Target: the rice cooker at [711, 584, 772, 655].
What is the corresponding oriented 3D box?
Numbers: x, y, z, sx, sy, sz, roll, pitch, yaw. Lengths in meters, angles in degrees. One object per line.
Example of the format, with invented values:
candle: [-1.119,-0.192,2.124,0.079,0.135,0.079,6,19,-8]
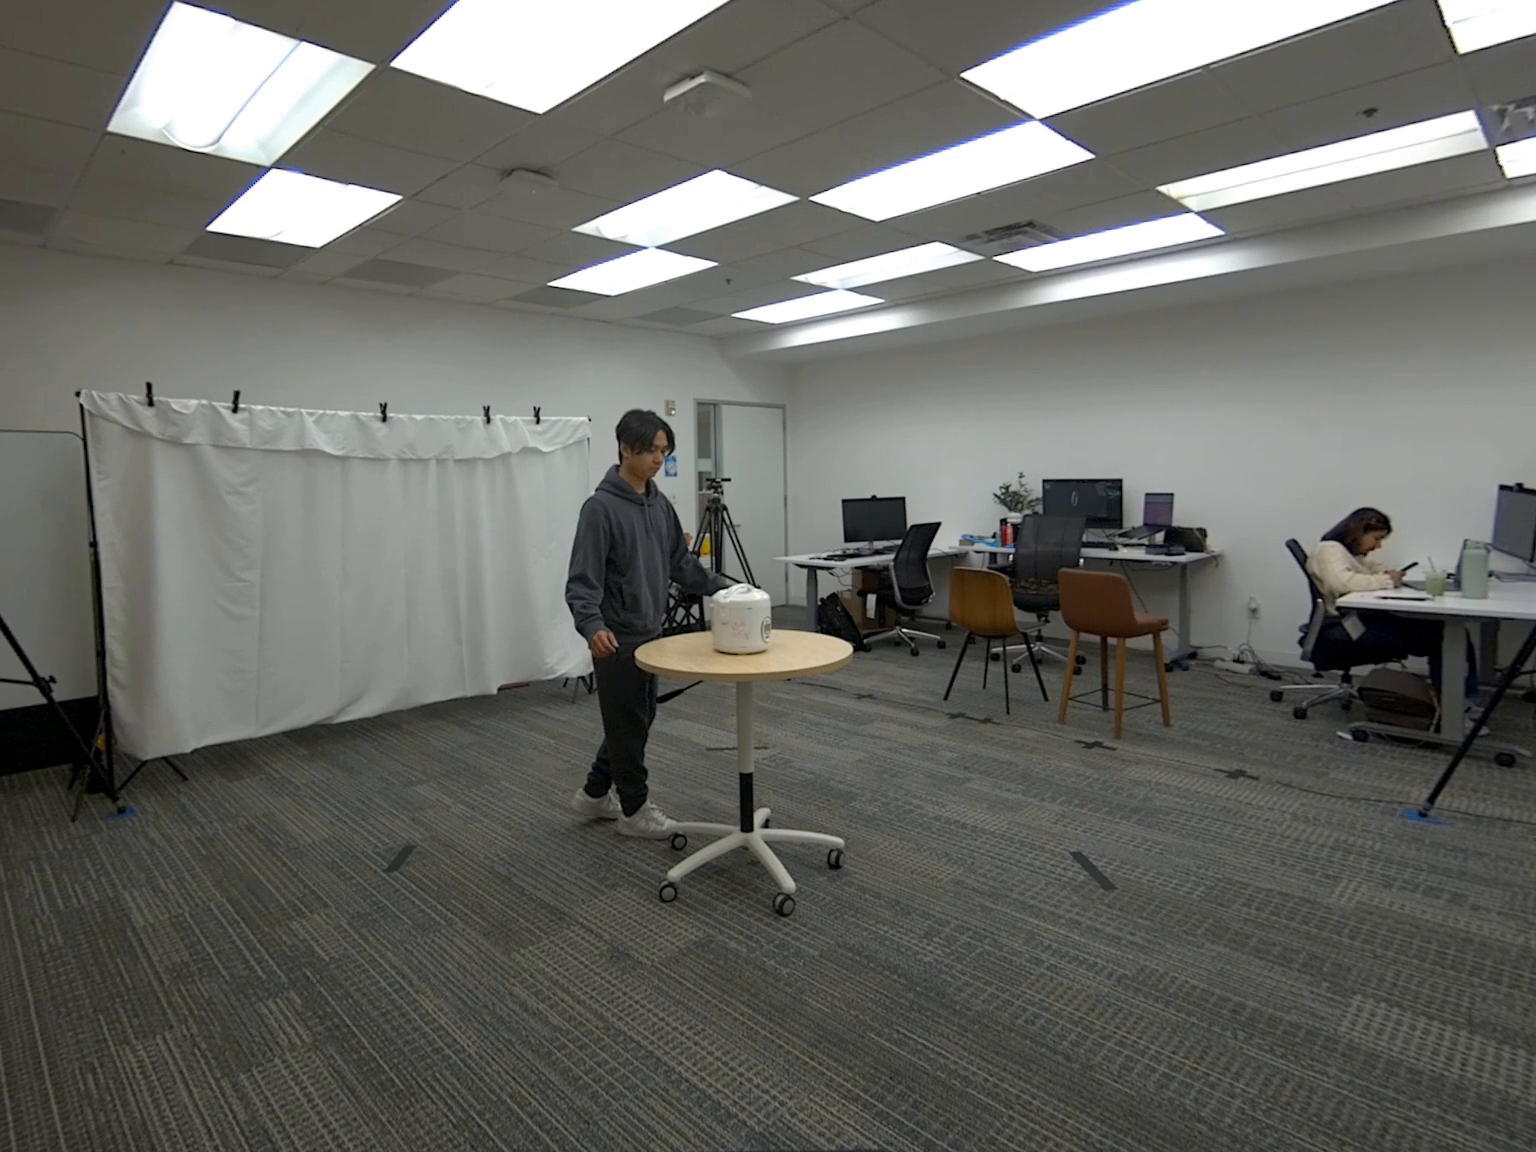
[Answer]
rice cooker: [-0.091,0.143,2.978,0.223,0.232,0.215,0,5,34]
